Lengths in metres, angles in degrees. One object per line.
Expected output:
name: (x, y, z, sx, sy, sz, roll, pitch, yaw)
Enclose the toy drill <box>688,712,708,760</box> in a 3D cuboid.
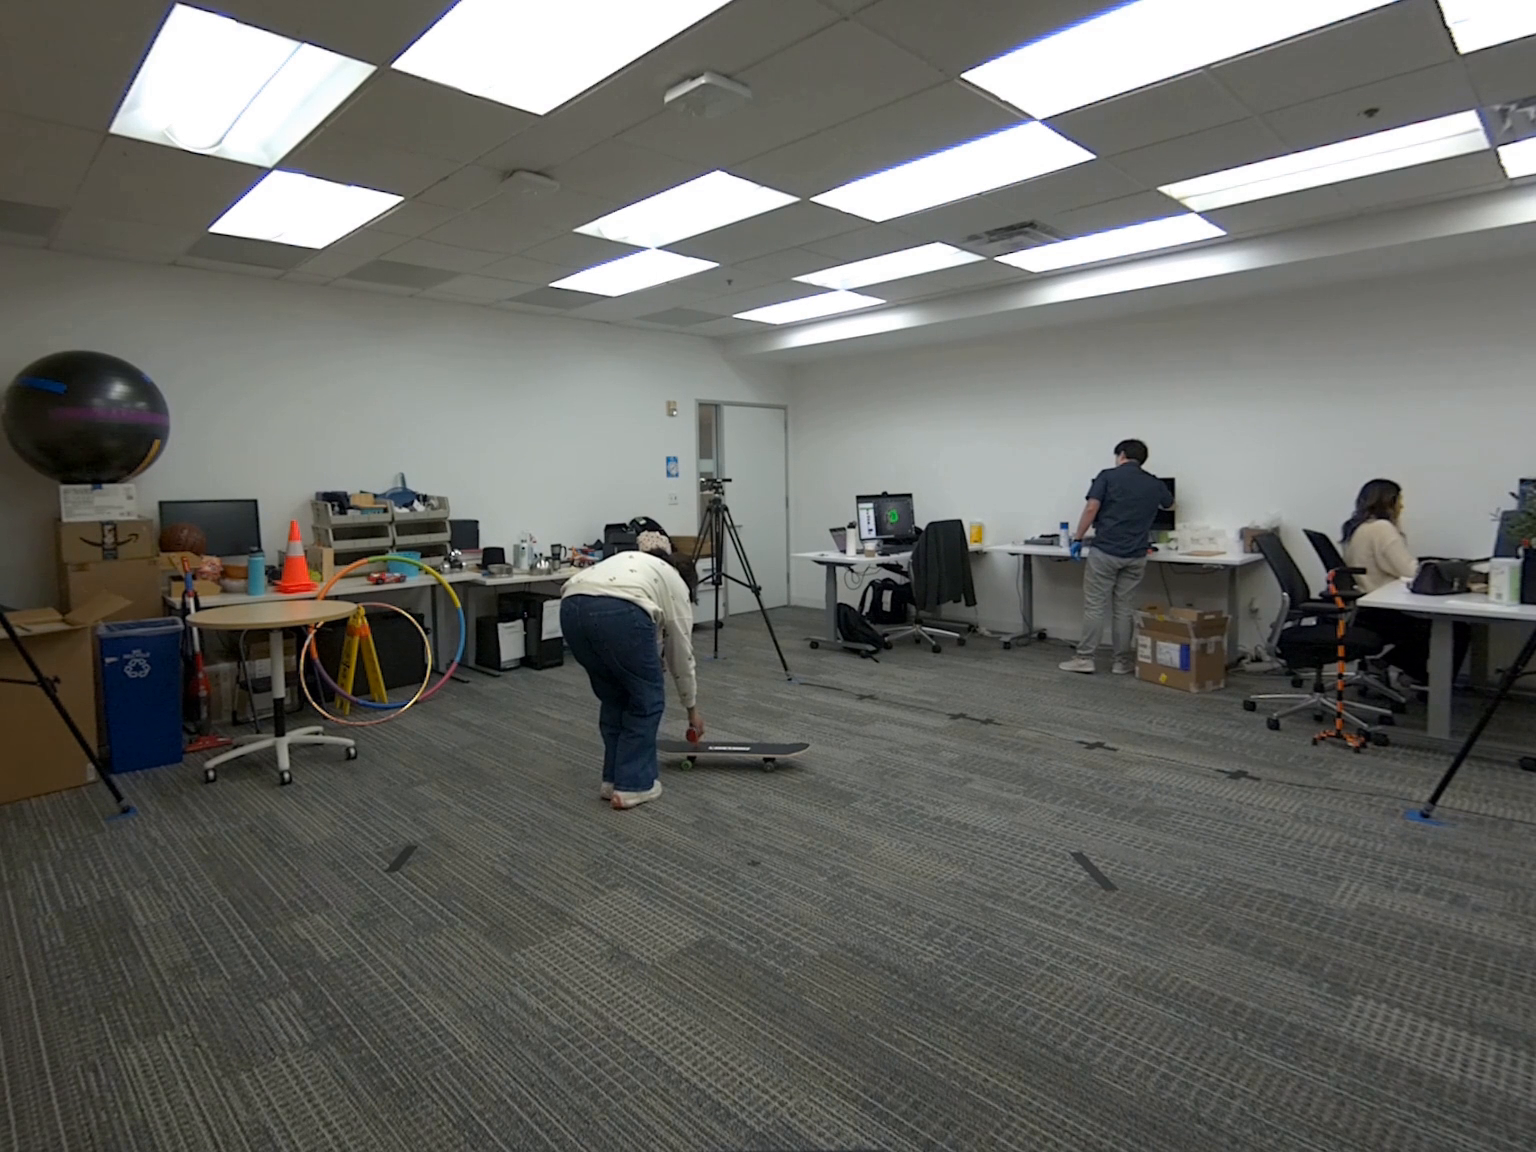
toy drill: (-0.342, 0.774, 4.165, 0.062, 0.167, 0.147, 4, 20, 9)
